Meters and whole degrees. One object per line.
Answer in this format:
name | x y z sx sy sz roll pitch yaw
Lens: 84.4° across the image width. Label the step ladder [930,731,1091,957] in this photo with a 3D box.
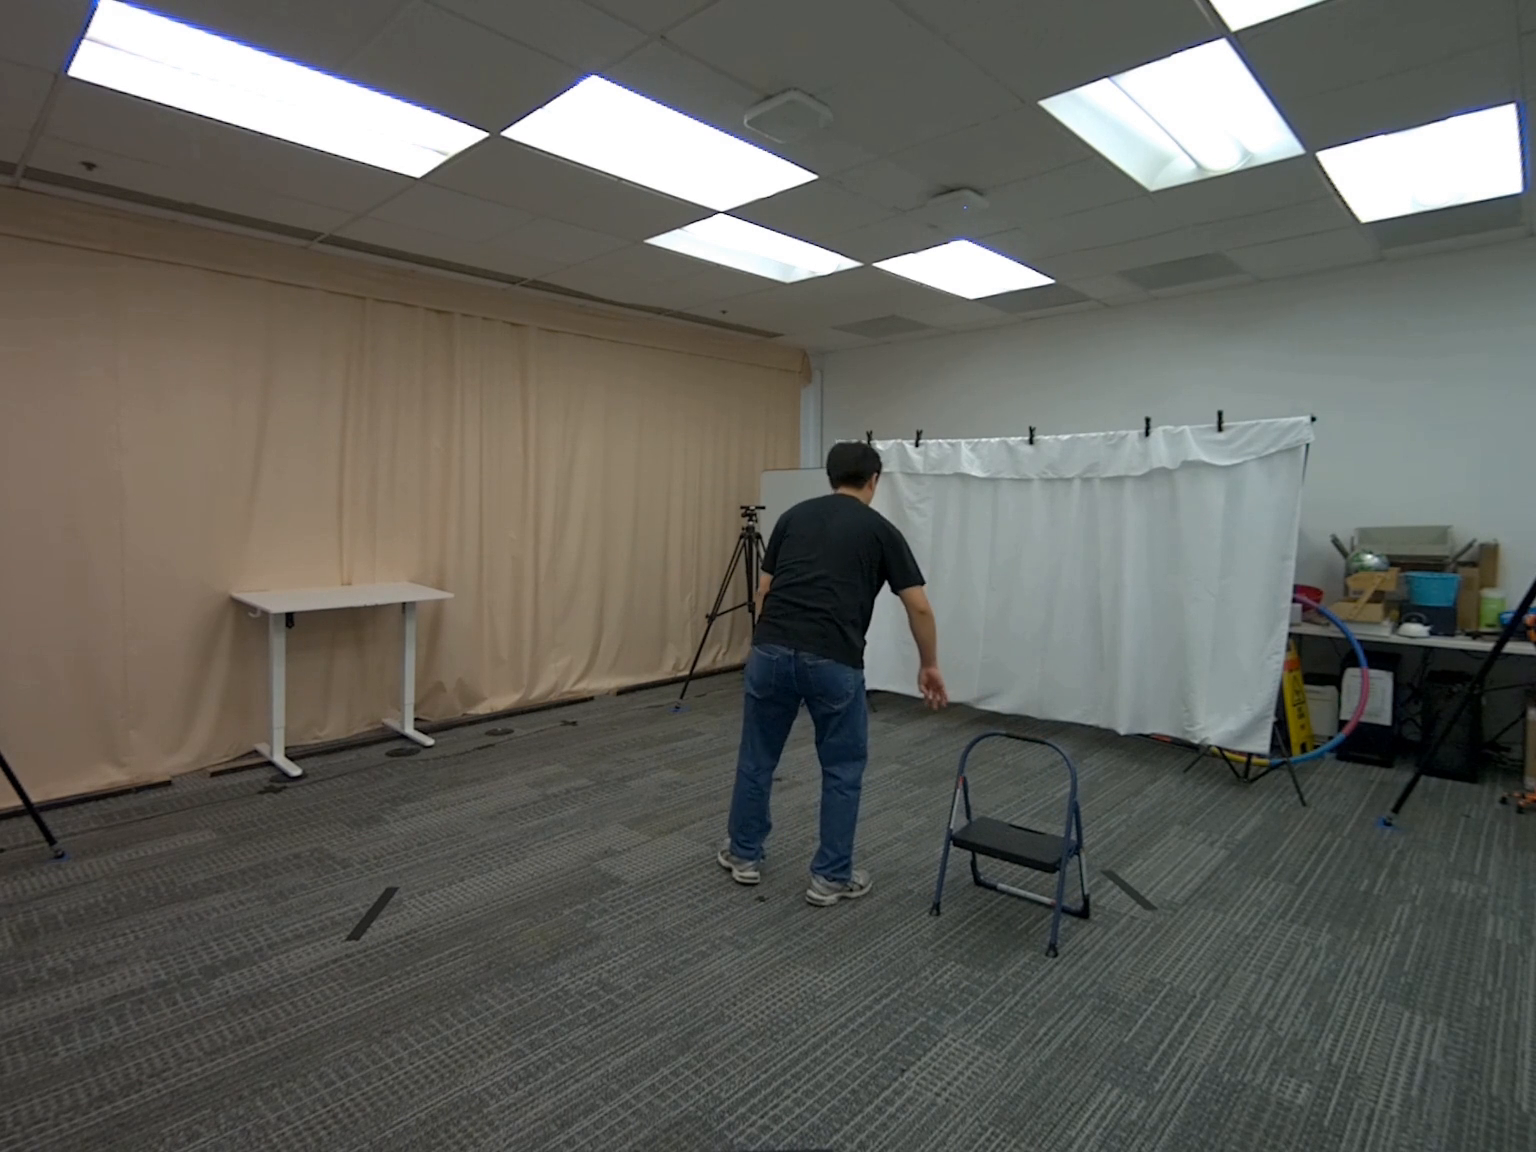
step ladder | 0.827 0.852 2.839 0.445 0.605 0.339 2 4 40
